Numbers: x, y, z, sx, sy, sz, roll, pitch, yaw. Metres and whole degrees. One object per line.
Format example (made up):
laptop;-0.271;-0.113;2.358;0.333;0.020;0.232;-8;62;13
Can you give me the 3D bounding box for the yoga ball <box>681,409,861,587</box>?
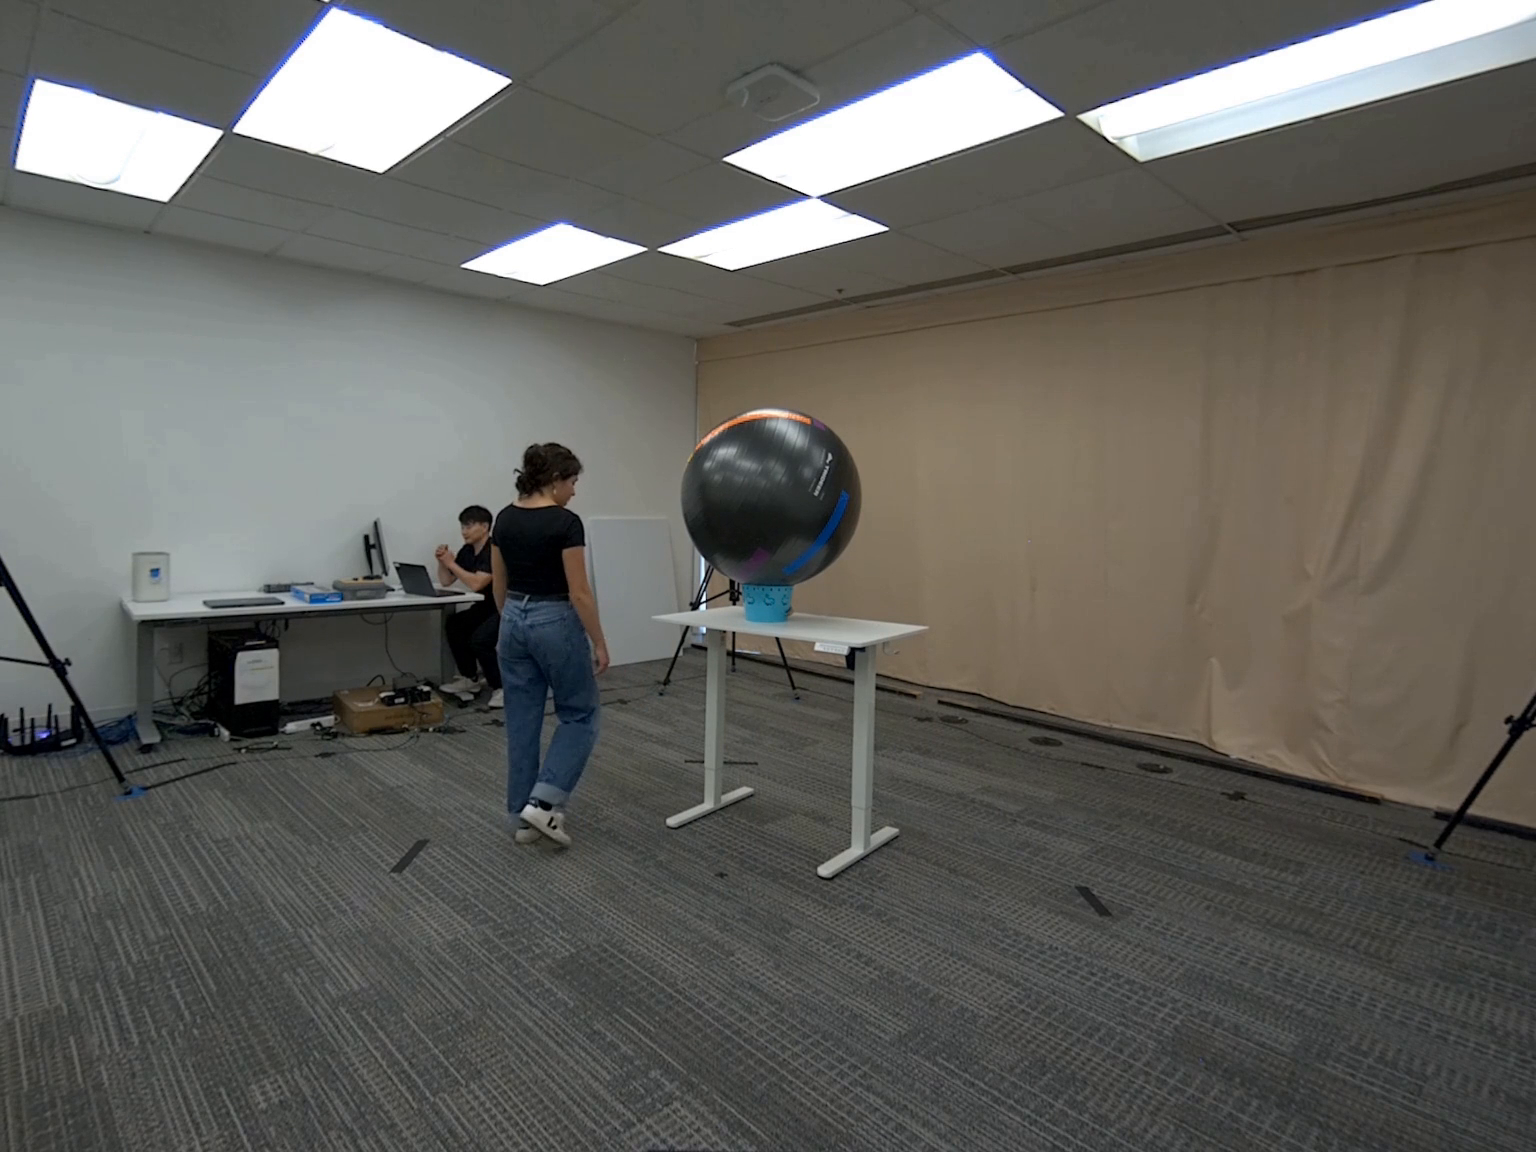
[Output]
yoga ball;0.003;-0.322;3.551;0.757;0.756;0.761;1;4;-1
